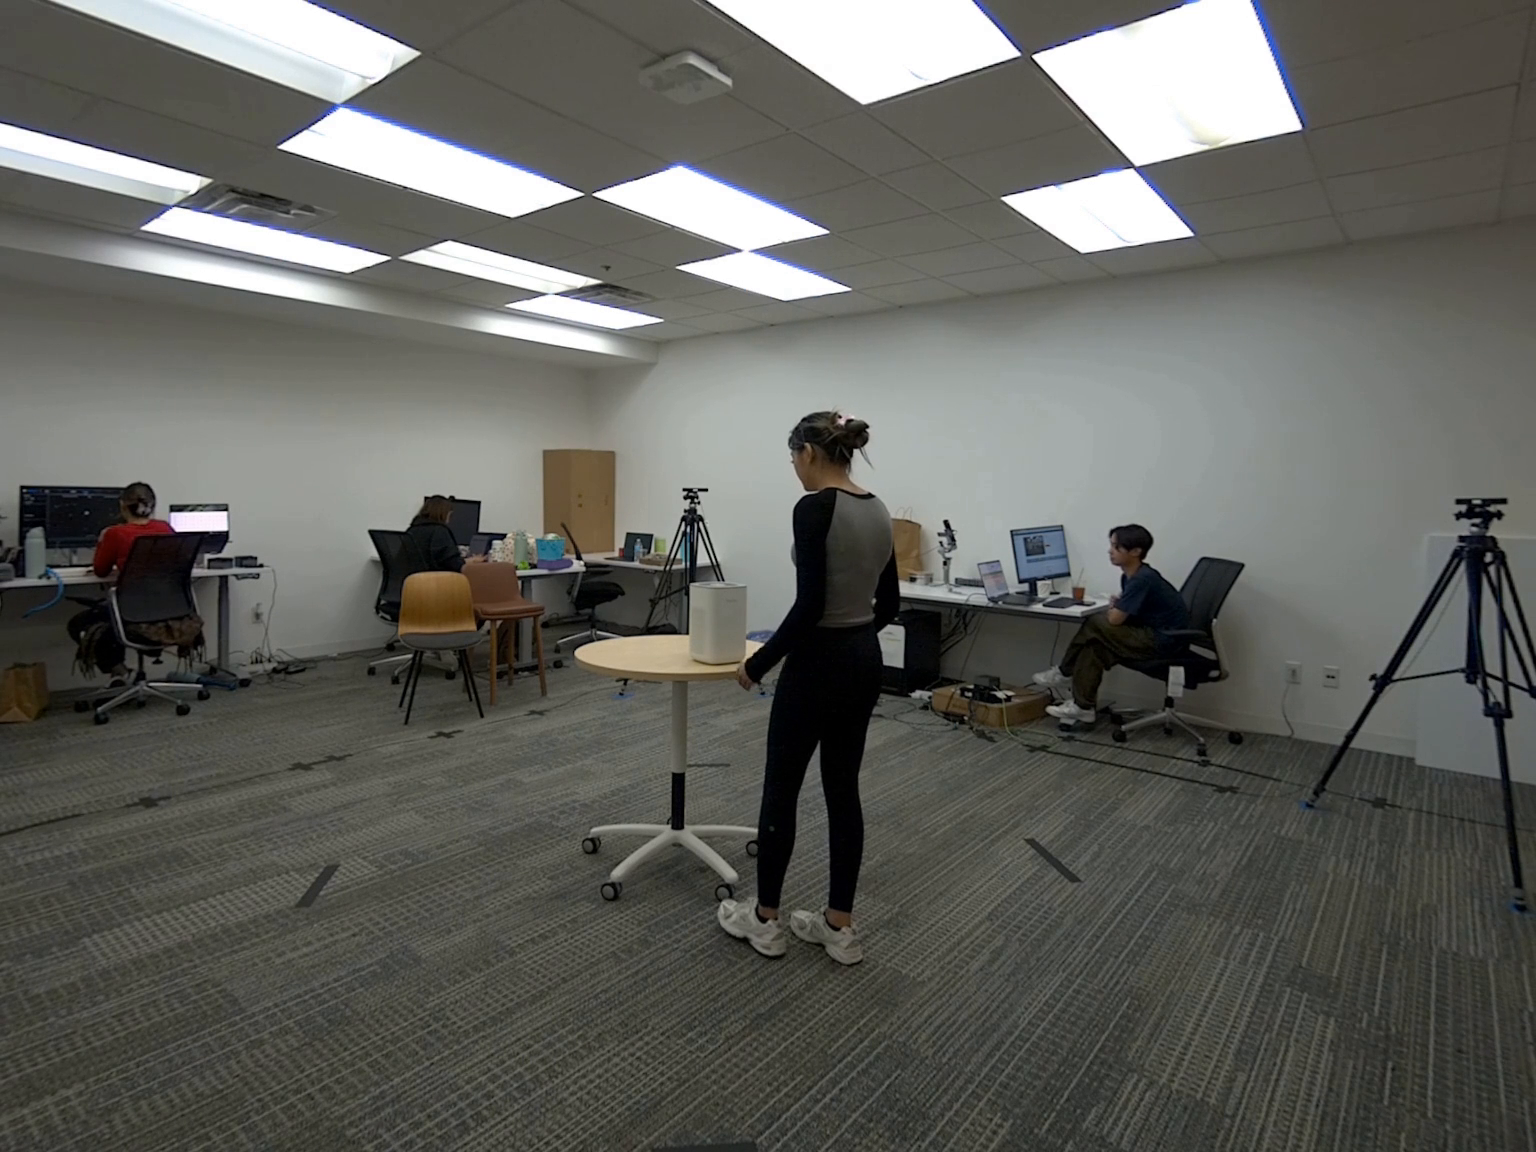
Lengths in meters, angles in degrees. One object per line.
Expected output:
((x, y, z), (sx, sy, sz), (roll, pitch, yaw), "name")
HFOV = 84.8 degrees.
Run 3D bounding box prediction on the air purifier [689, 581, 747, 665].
((-0.182, 0.153, 2.943), (0.166, 0.265, 0.176), (1, 2, -36), "air purifier")
